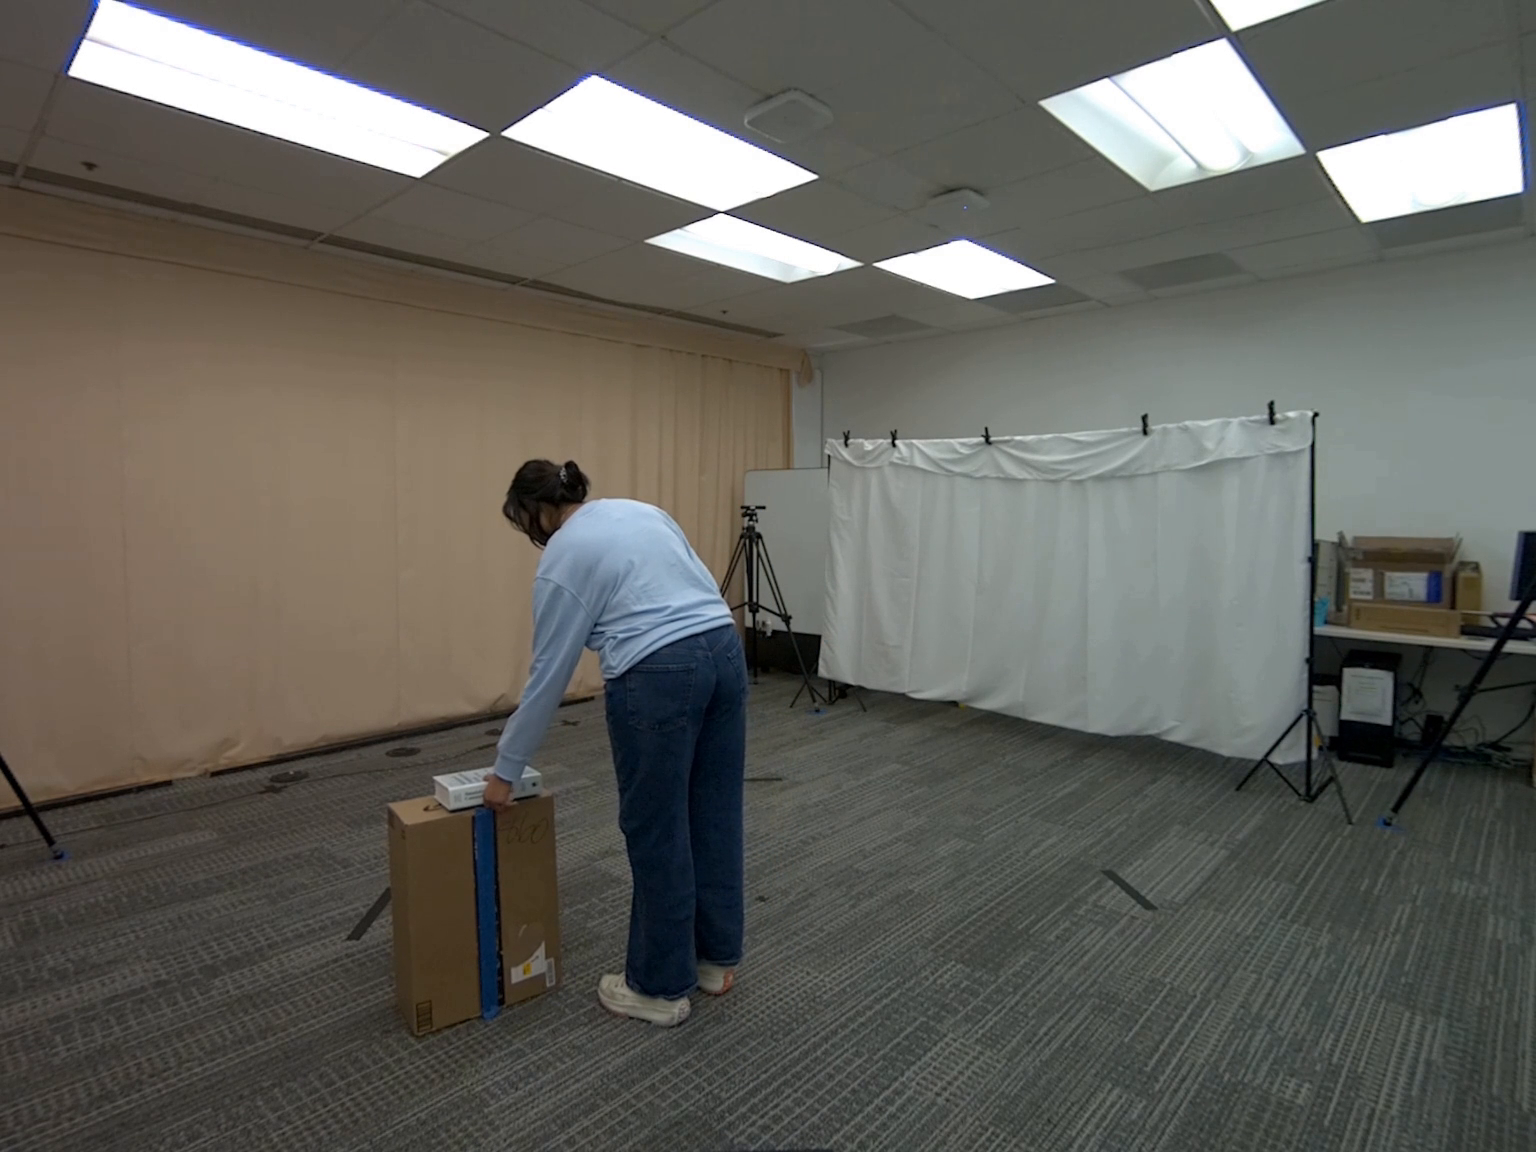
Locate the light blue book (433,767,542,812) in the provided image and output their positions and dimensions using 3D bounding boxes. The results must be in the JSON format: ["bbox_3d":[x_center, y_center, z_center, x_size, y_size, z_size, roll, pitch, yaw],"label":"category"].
[{"bbox_3d":[-0.802,0.599,2.419,0.254,0.059,0.197,-3,0,-33],"label":"light blue book"}]
